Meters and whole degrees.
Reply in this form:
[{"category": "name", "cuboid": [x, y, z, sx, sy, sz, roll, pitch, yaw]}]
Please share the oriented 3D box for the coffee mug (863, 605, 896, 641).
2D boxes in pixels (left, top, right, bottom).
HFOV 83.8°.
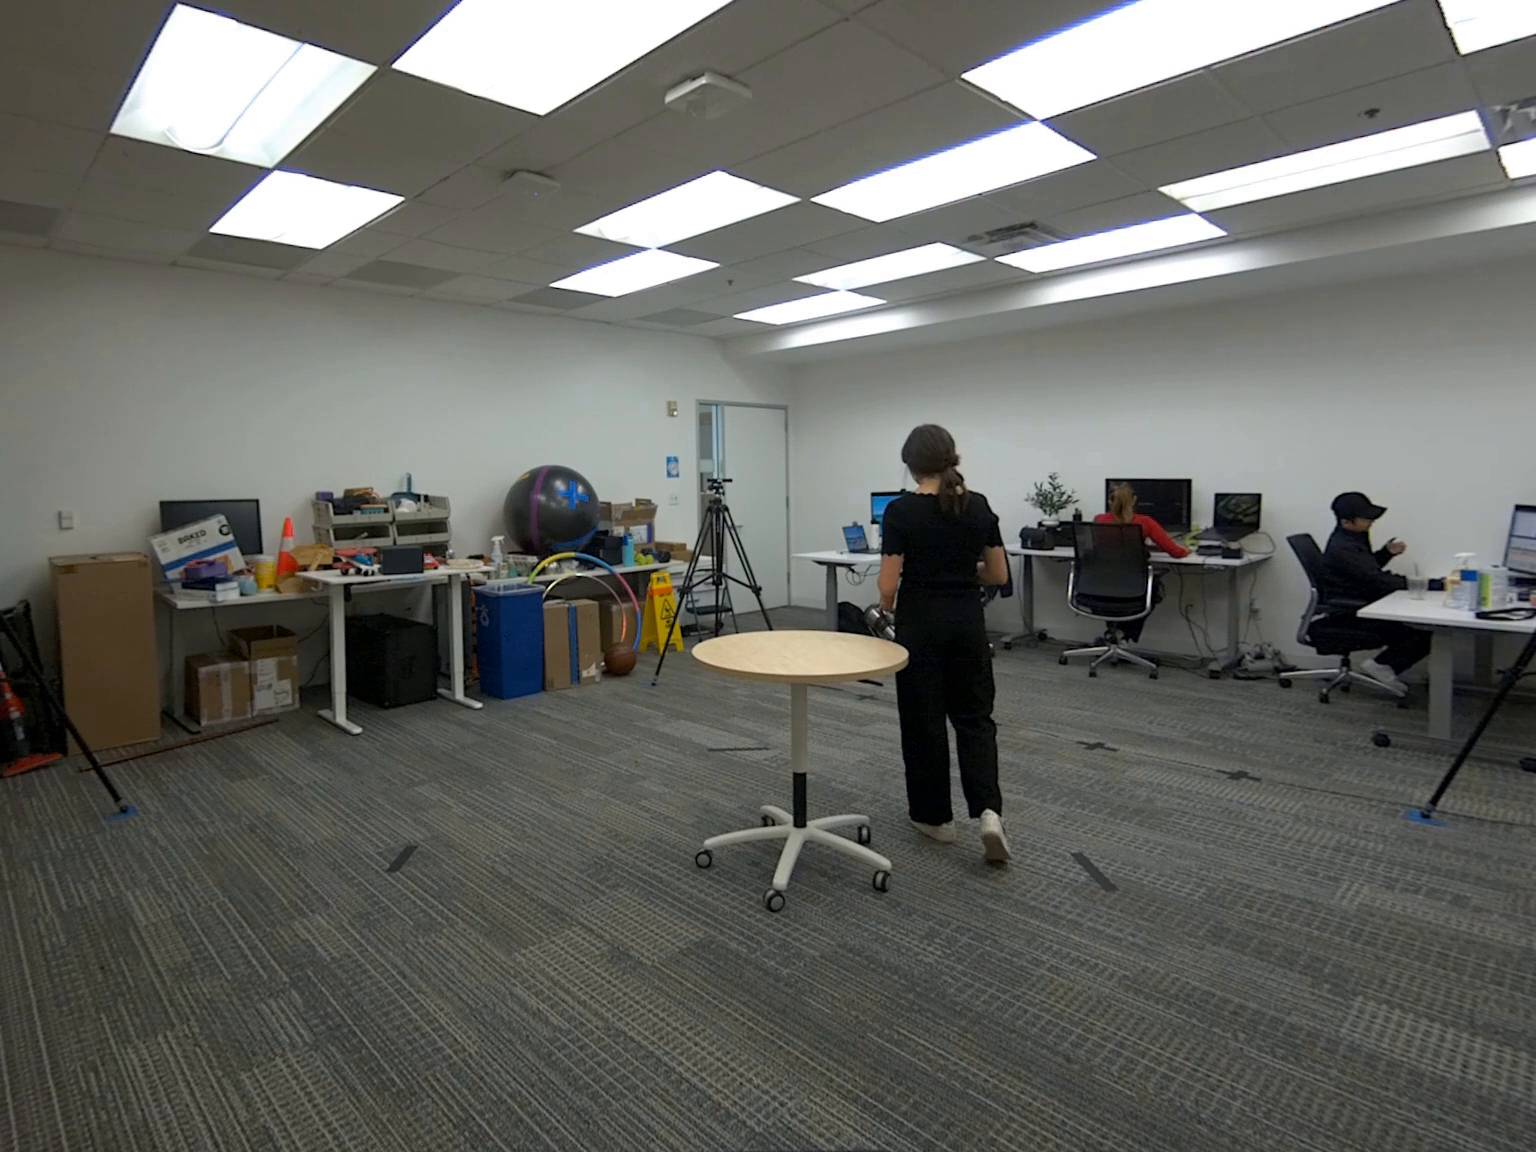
[{"category": "coffee mug", "cuboid": [0.489, 0.184, 3.463, 0.086, 0.119, 0.211, -4, 33, -22]}]
